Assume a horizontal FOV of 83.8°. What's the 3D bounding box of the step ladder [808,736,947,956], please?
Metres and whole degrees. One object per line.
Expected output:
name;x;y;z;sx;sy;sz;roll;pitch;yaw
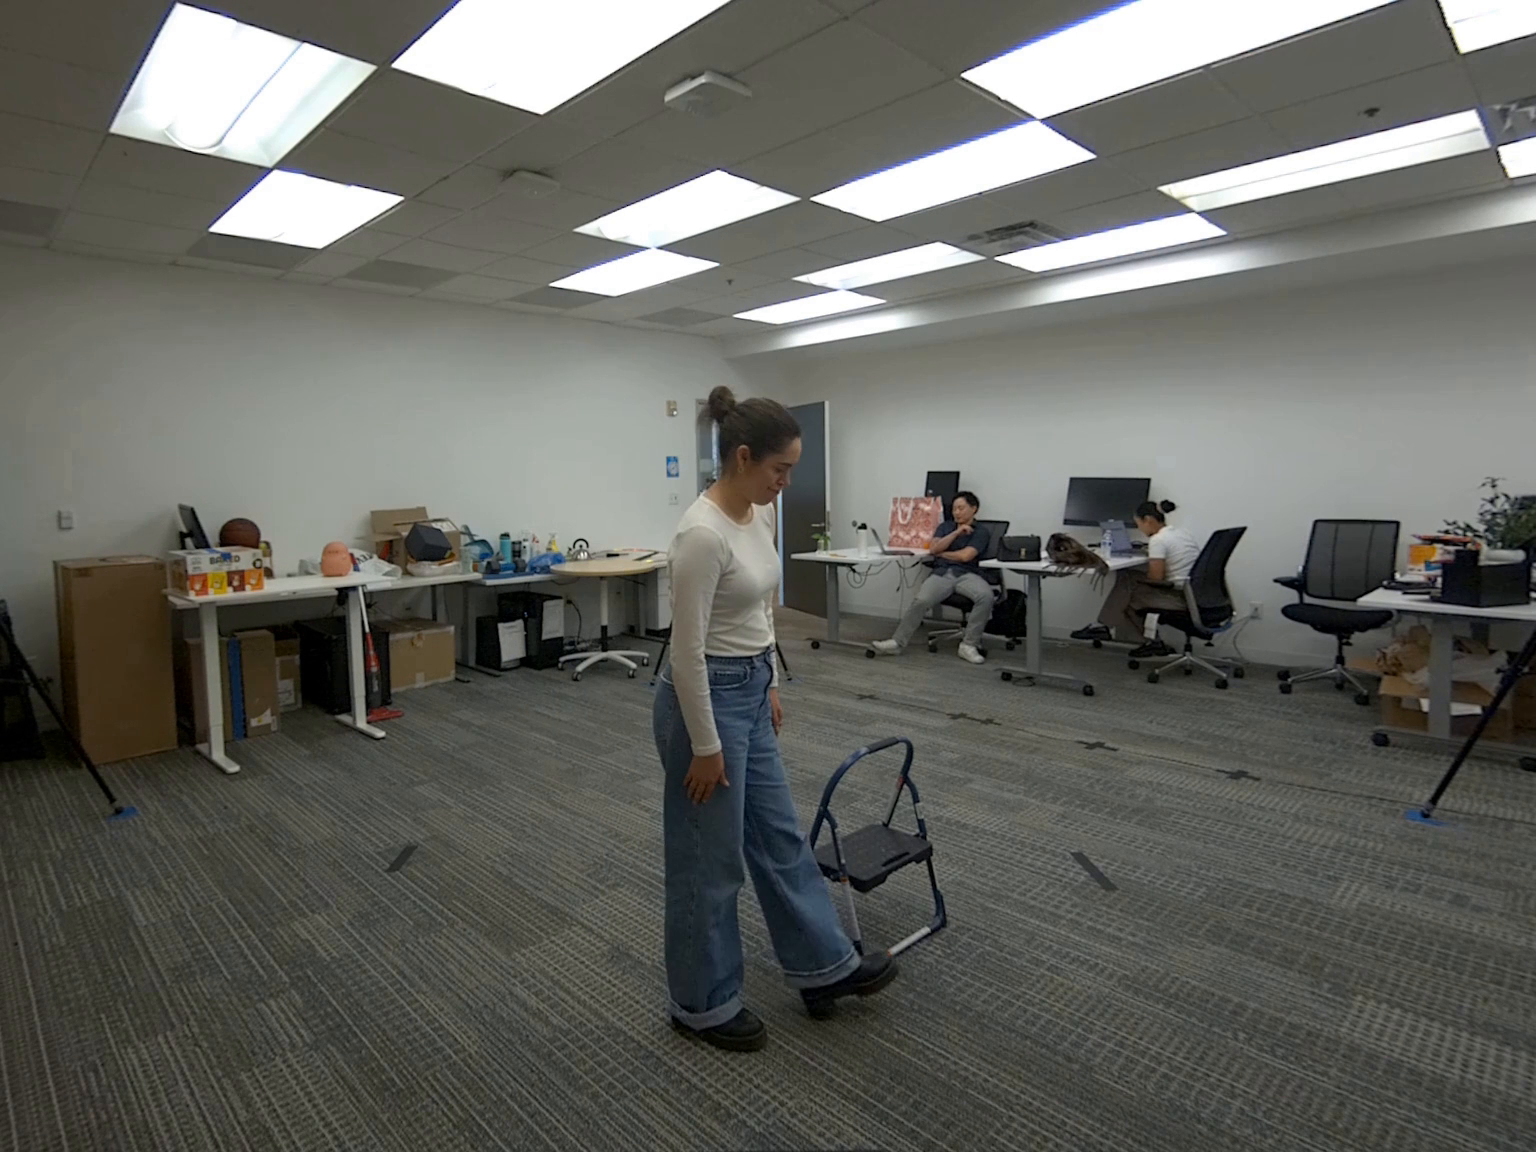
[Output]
step ladder;0.291;0.792;2.626;0.419;0.604;0.360;-6;6;-45
